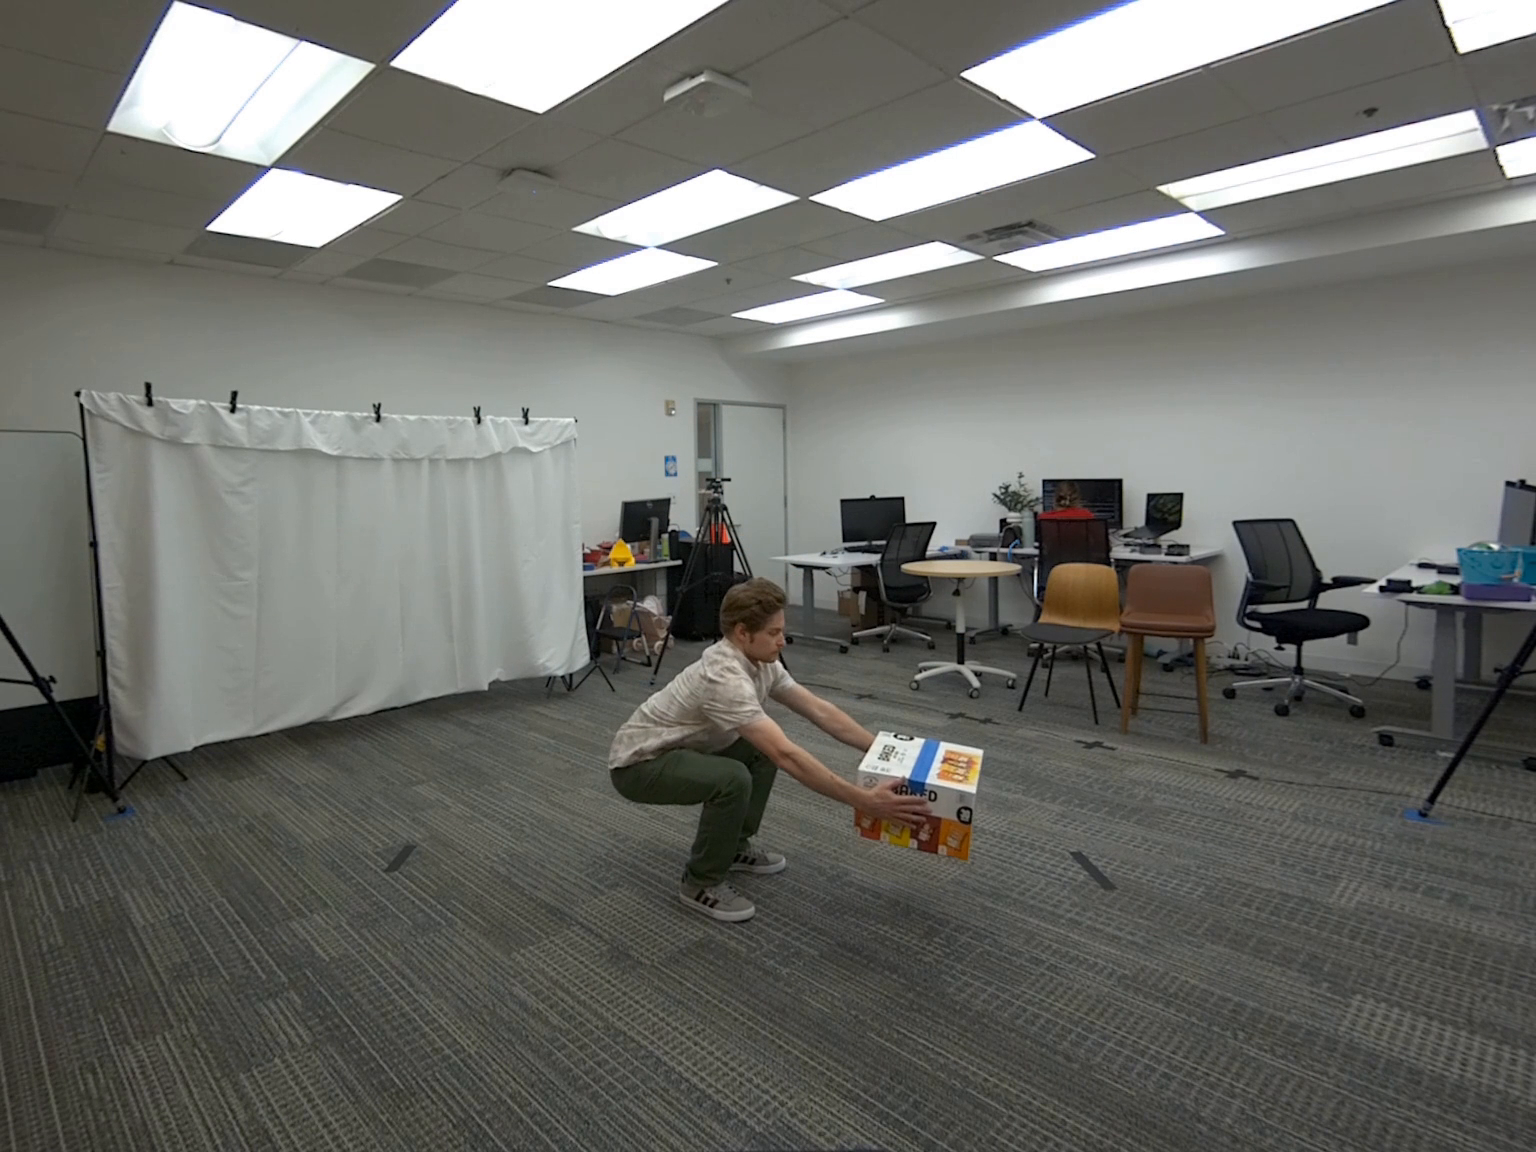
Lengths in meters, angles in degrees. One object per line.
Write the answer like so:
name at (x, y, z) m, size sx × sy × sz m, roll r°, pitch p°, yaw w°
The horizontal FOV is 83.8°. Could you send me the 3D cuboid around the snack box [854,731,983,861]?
snack box at (0.475, 0.665, 2.671) m, size 0.347 × 0.204 × 0.400 m, roll 7°, pitch 8°, yaw 18°
